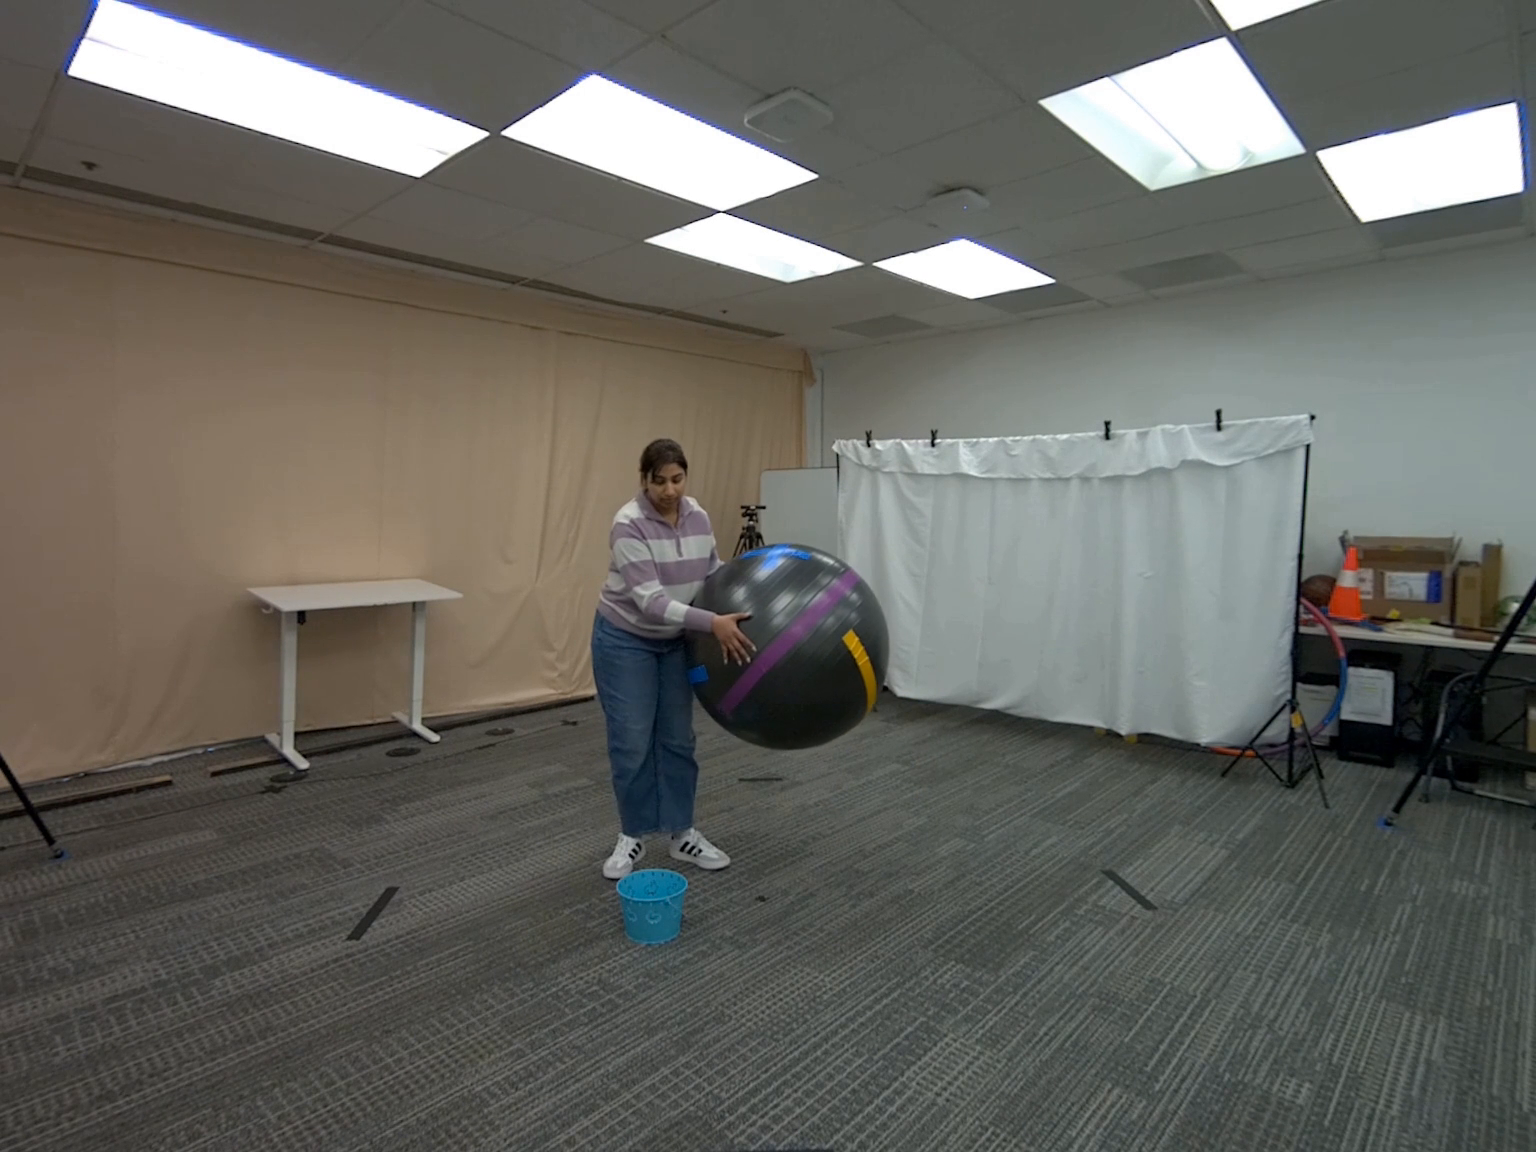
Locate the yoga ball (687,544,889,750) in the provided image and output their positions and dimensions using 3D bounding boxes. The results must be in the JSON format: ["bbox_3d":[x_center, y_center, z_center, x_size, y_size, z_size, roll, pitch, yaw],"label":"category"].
[{"bbox_3d":[0.068,0.266,3.120,0.757,0.756,0.760,0,4,-2],"label":"yoga ball"}]
